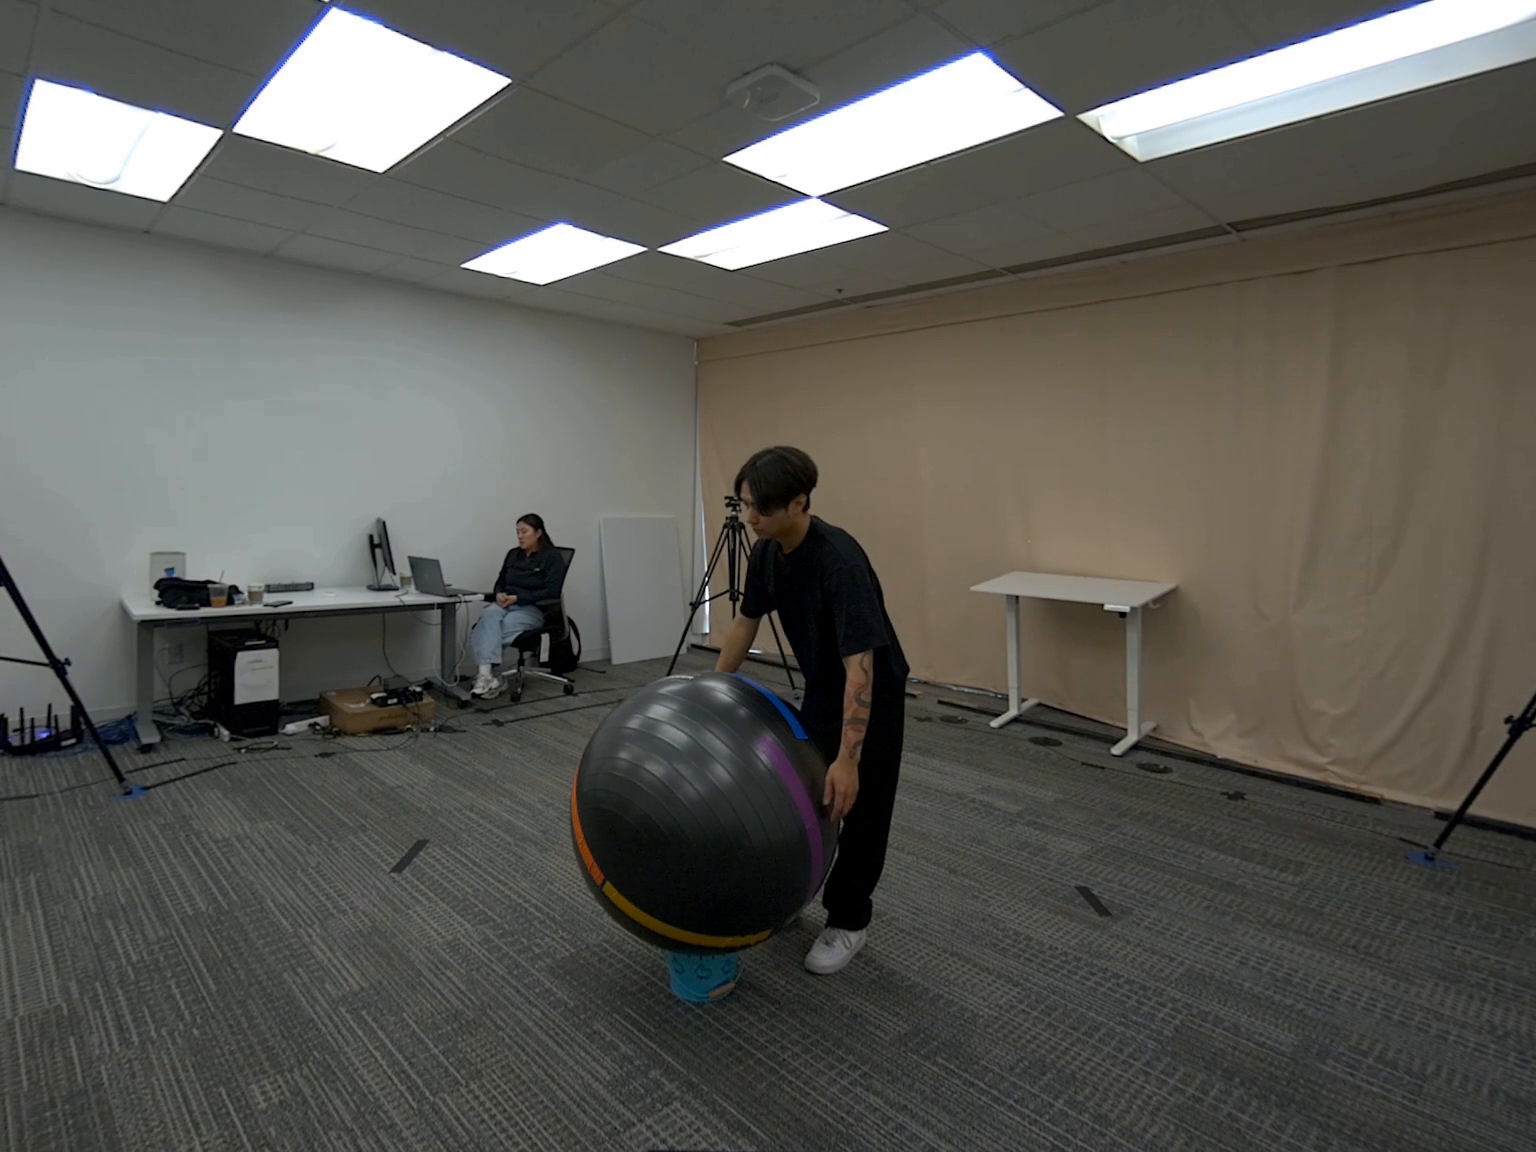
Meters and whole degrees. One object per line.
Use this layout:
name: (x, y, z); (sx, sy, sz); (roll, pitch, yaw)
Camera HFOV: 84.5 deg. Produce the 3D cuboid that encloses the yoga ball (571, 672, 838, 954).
yoga ball: (-0.188, 0.660, 2.379); (0.757, 0.756, 0.761); (1, 4, -1)
